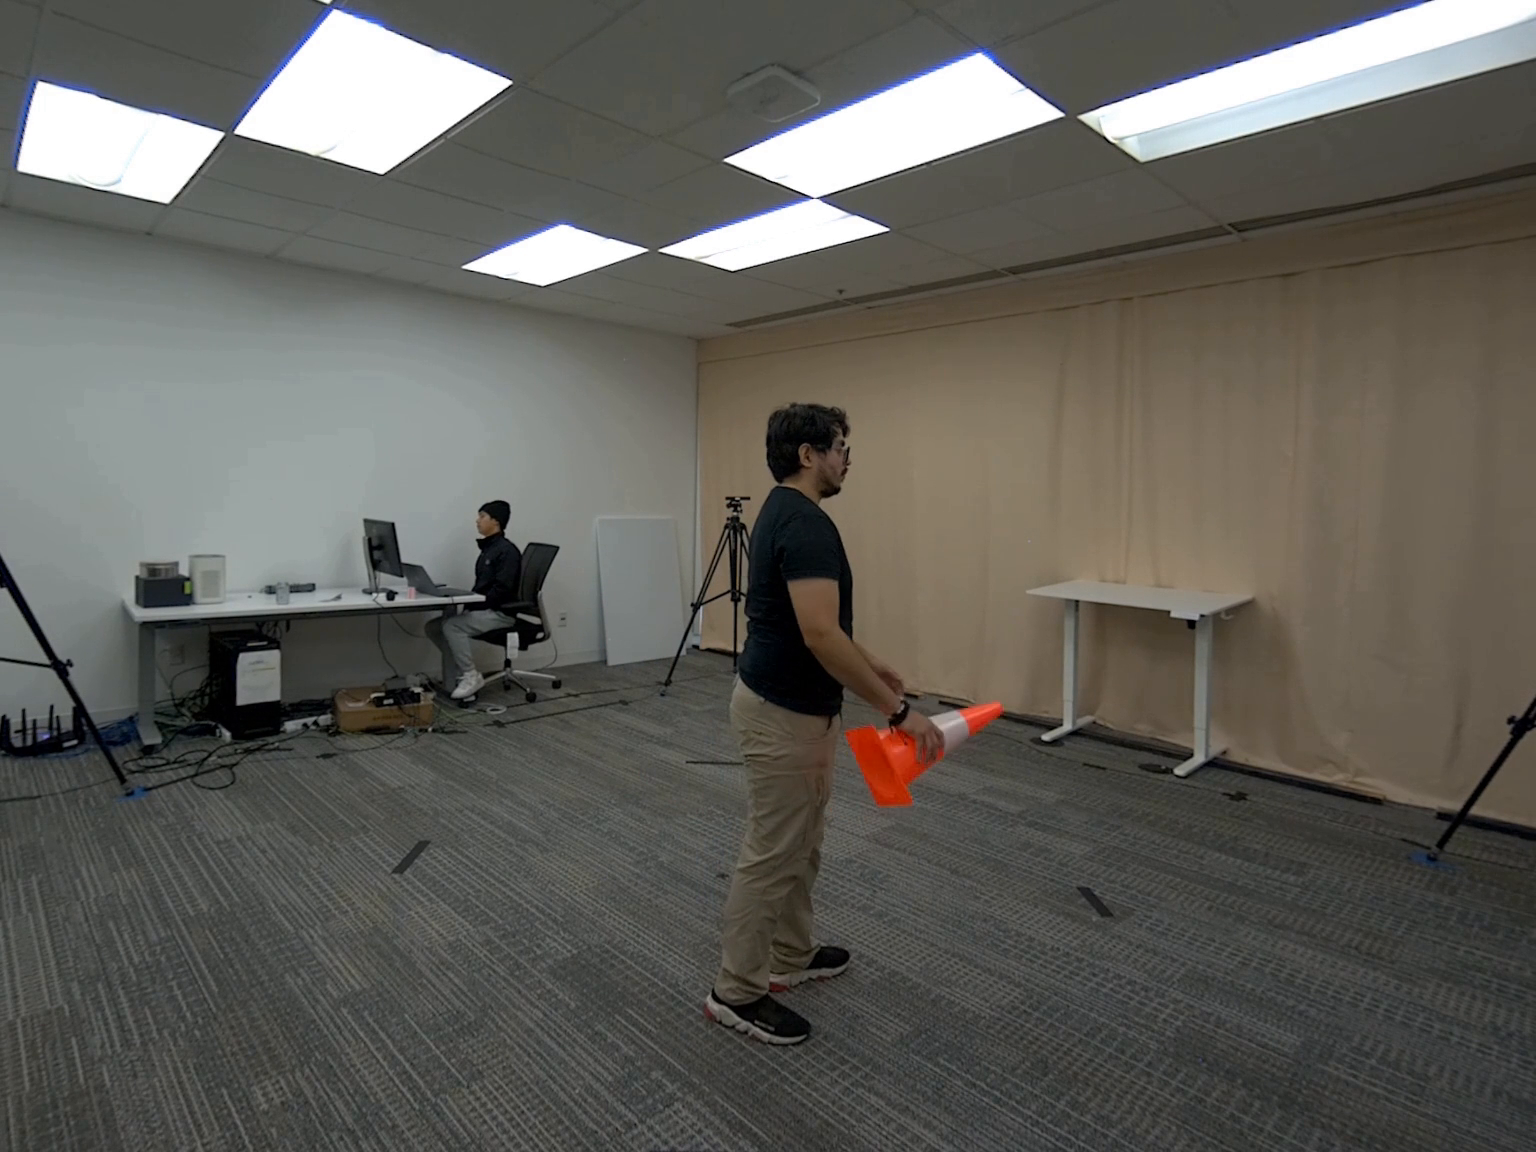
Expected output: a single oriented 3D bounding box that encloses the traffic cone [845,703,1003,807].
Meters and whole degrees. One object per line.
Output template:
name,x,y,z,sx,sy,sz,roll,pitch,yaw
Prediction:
traffic cone,0.415,0.400,2.075,0.380,0.208,0.202,-19,-14,-17
